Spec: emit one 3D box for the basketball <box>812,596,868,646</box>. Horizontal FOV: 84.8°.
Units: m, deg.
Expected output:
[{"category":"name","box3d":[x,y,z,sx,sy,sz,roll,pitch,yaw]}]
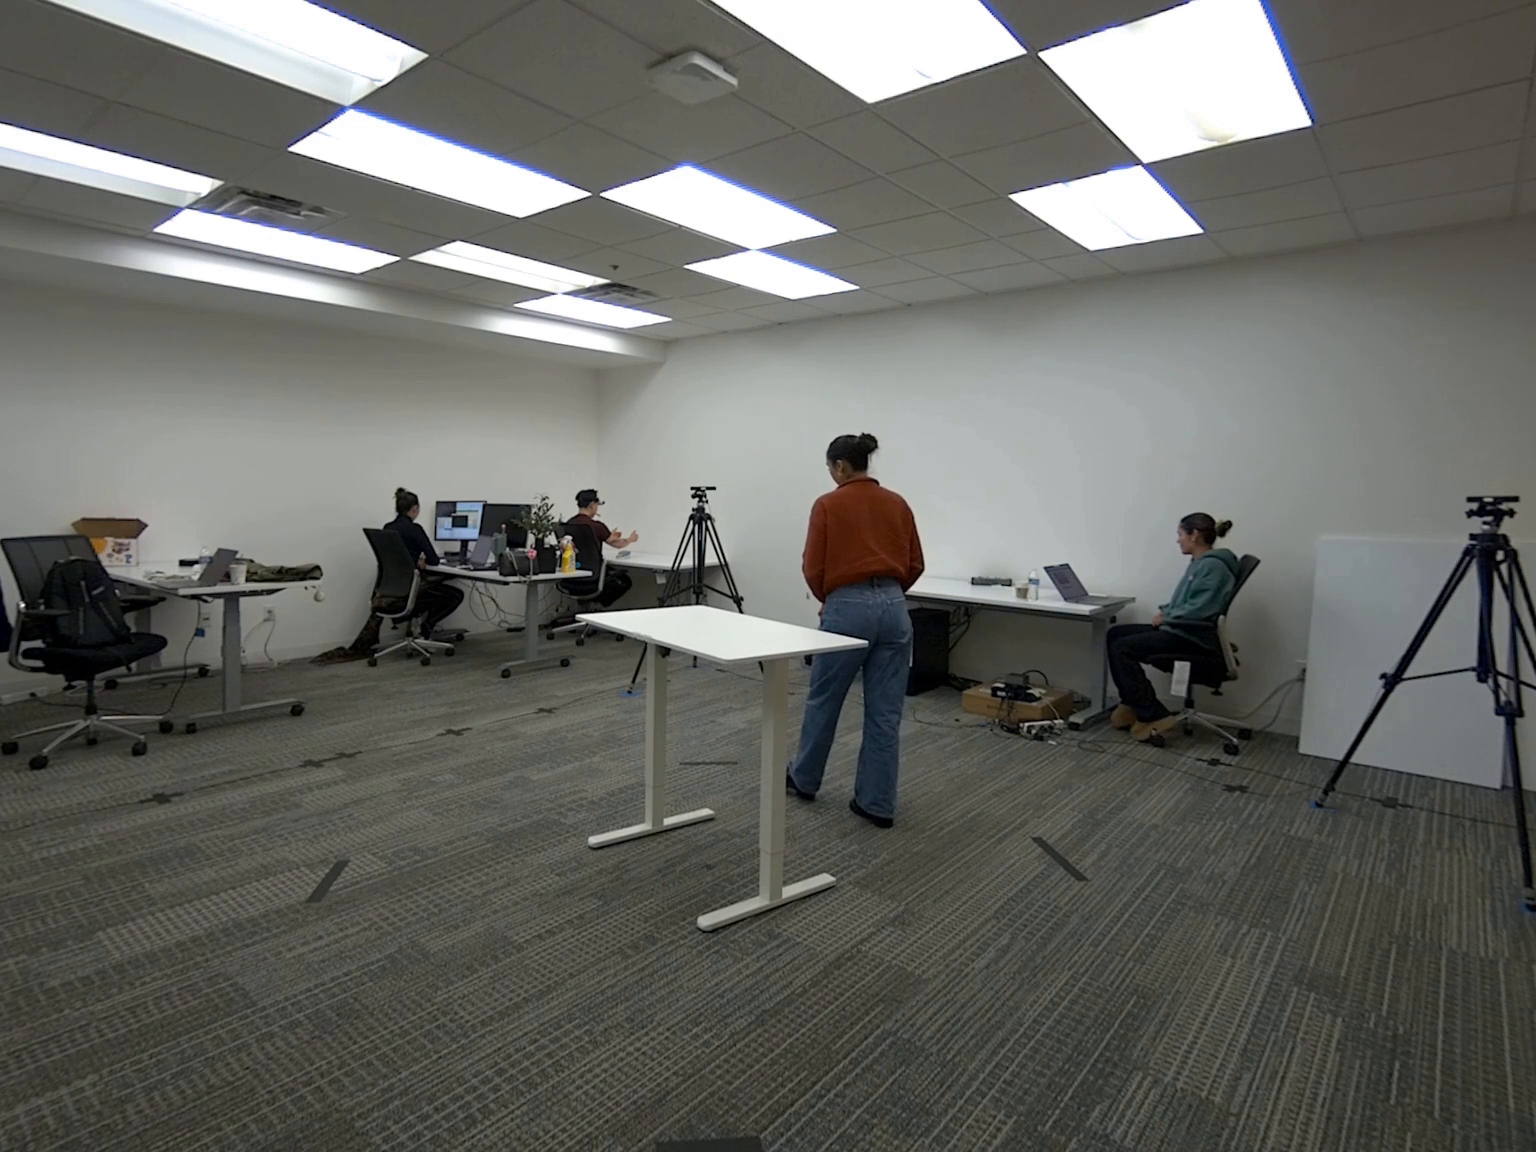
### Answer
[{"category":"basketball","box3d":[0.336,0.178,3.864,0.235,0.235,0.237,1,4,-2]}]
